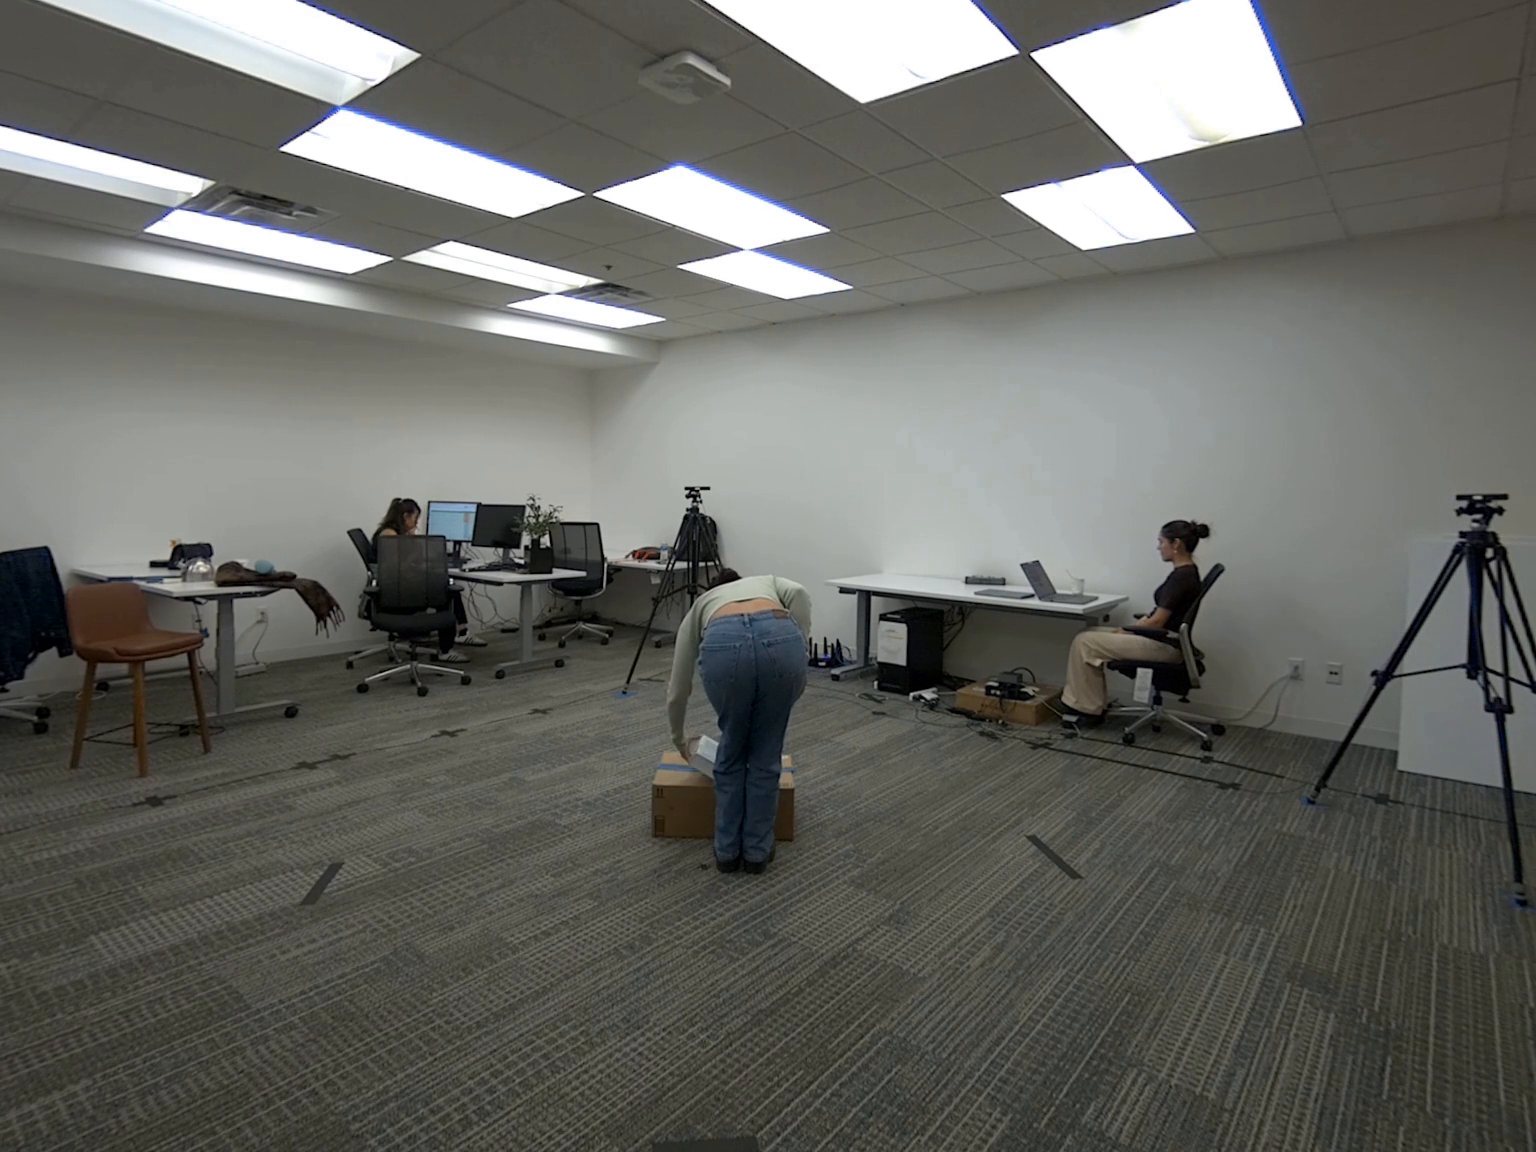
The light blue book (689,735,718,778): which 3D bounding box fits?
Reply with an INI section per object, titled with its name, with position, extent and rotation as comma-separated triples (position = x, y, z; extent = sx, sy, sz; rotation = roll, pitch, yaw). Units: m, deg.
[light blue book]
position = -0.216, 0.747, 3.487
extent = 0.192, 0.059, 0.260
rotation = 29, 4, 1
